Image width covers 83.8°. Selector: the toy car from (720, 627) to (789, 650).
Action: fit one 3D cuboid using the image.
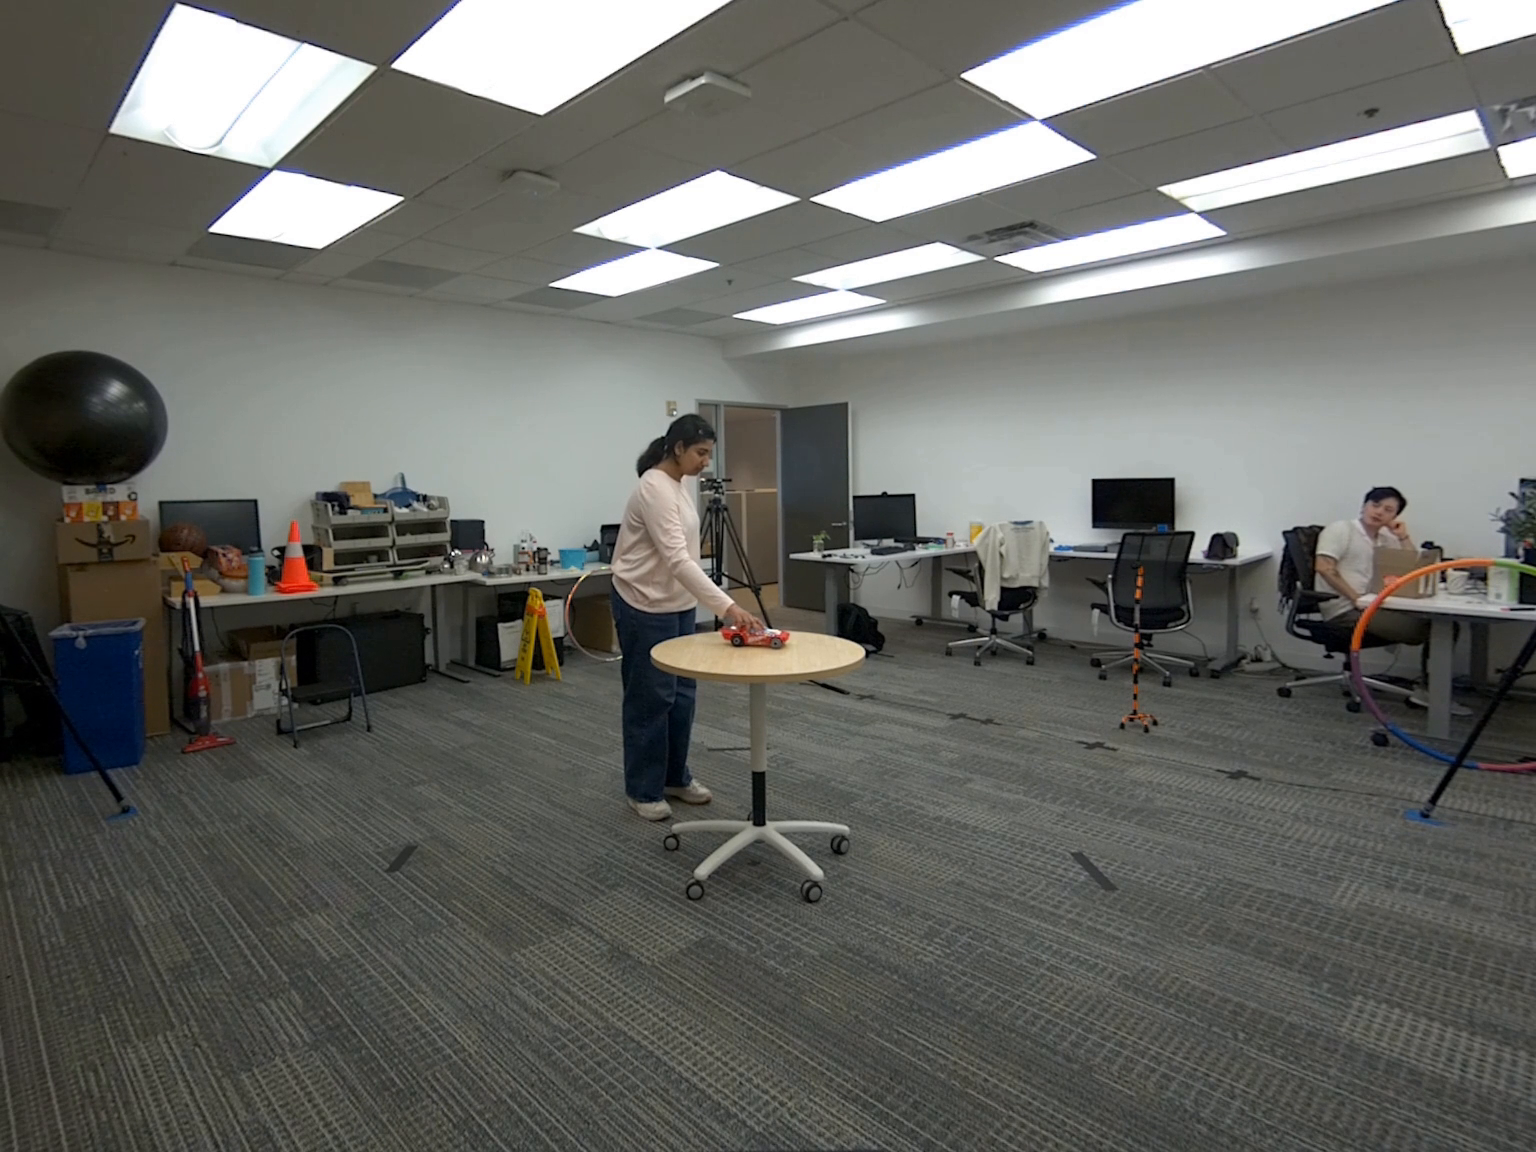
[{"bbox_3d":[-0.051,0.223,3.146,0.258,0.083,0.129,12,8,13],"label":"toy car"}]
